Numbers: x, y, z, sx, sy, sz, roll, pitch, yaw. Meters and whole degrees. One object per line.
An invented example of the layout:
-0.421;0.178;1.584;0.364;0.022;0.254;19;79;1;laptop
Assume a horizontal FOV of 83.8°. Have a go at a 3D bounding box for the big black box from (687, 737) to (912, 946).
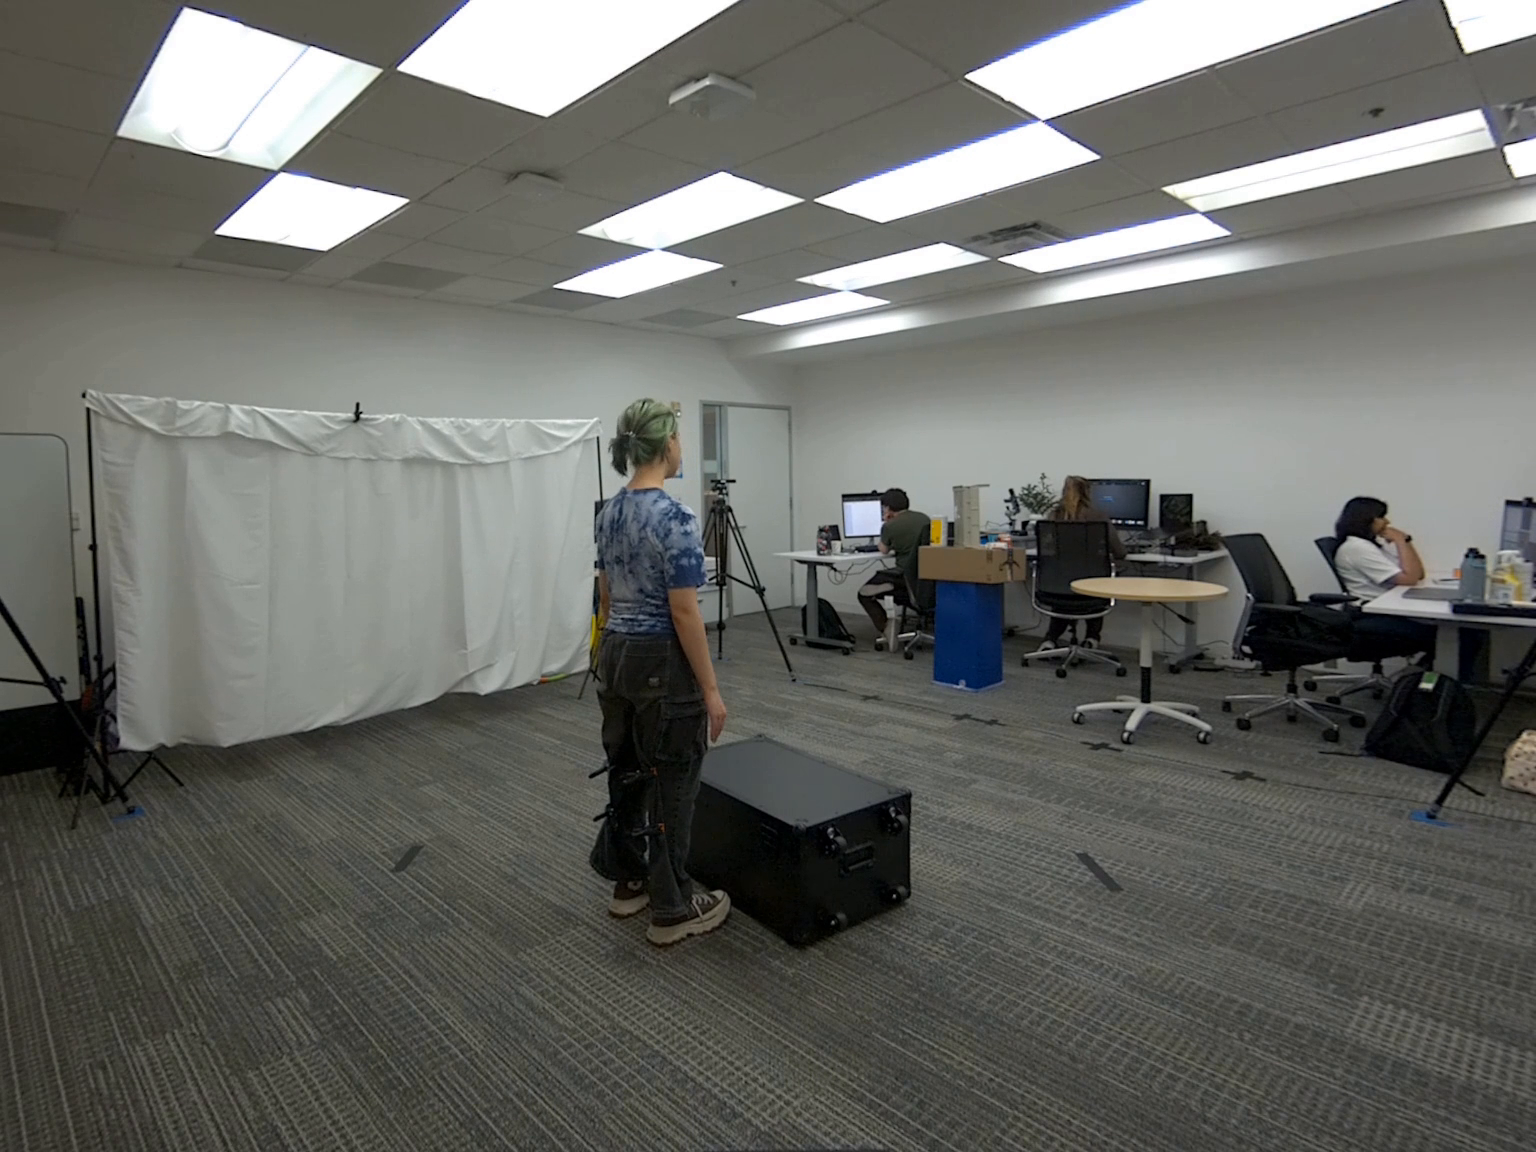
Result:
0.058;0.876;2.936;0.508;0.395;0.887;-5;7;-37;big black box
